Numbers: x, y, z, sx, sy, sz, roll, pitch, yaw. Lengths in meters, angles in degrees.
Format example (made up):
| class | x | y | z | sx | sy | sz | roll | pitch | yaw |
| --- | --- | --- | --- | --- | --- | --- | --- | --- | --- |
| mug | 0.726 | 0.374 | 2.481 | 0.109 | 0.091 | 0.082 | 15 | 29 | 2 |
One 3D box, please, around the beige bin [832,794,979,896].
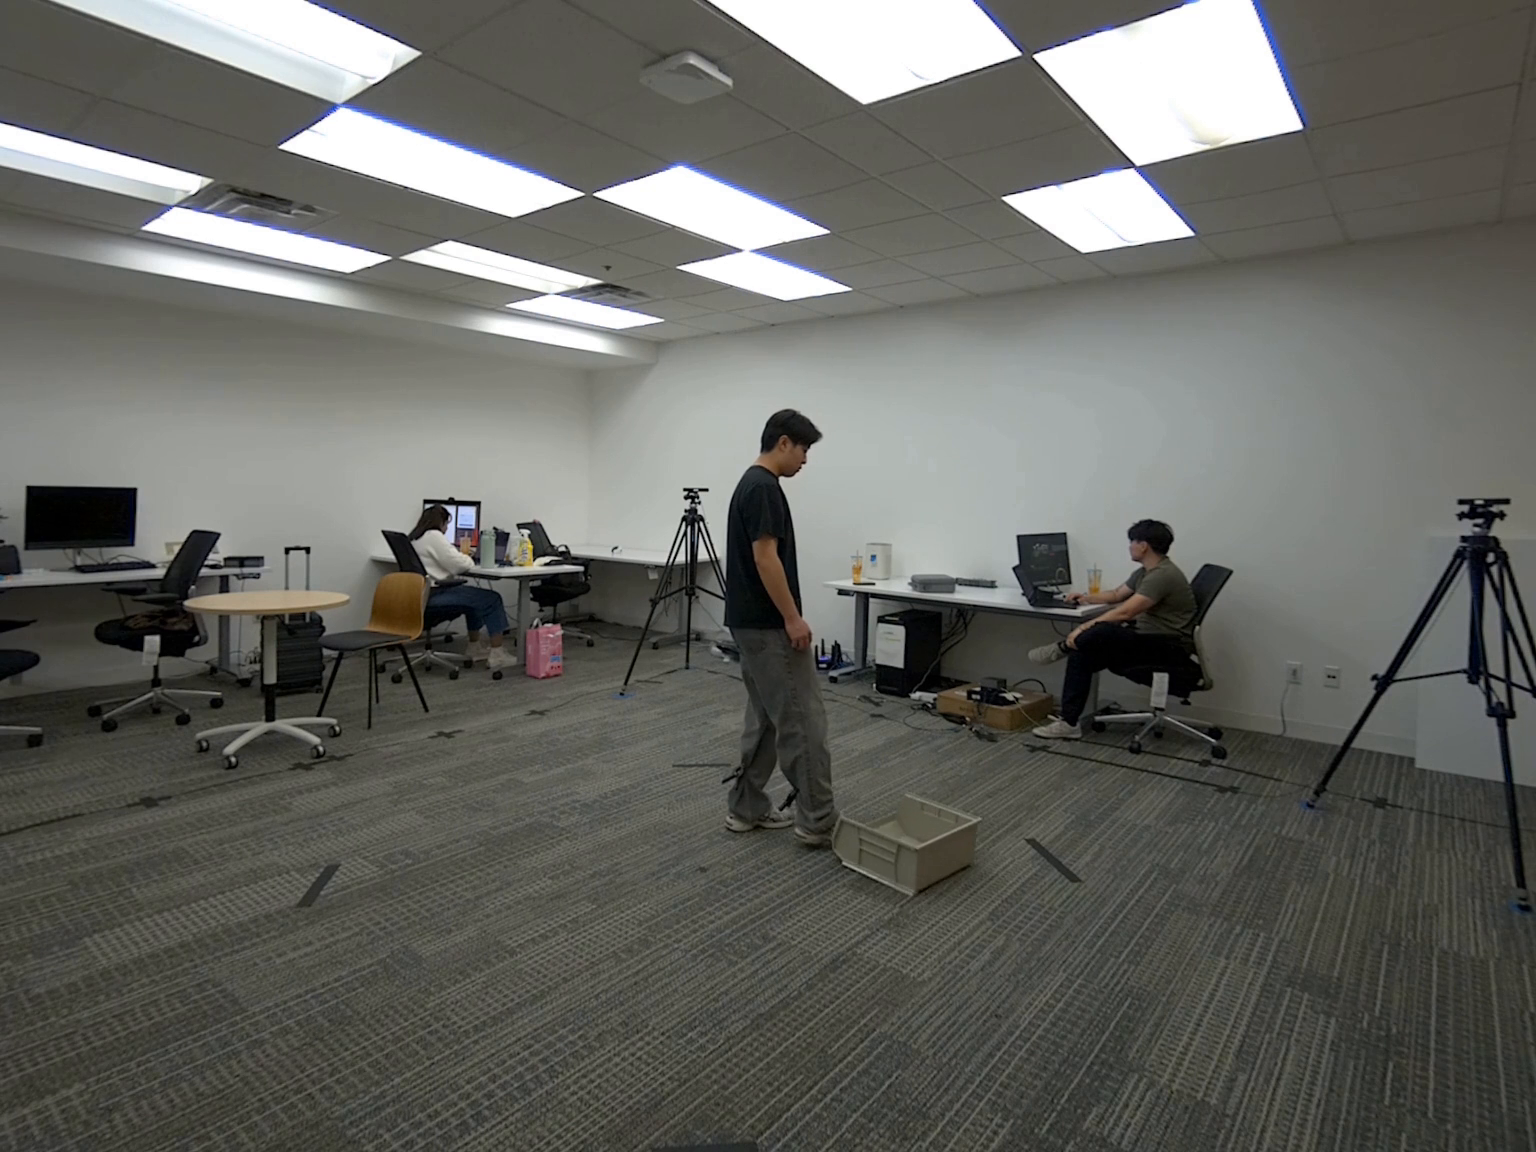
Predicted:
| class | x | y | z | sx | sy | sz | roll | pitch | yaw |
| --- | --- | --- | --- | --- | --- | --- | --- | --- | --- |
| beige bin | 0.510 | 0.986 | 3.199 | 0.409 | 0.188 | 0.391 | -3 | 8 | -44 |
